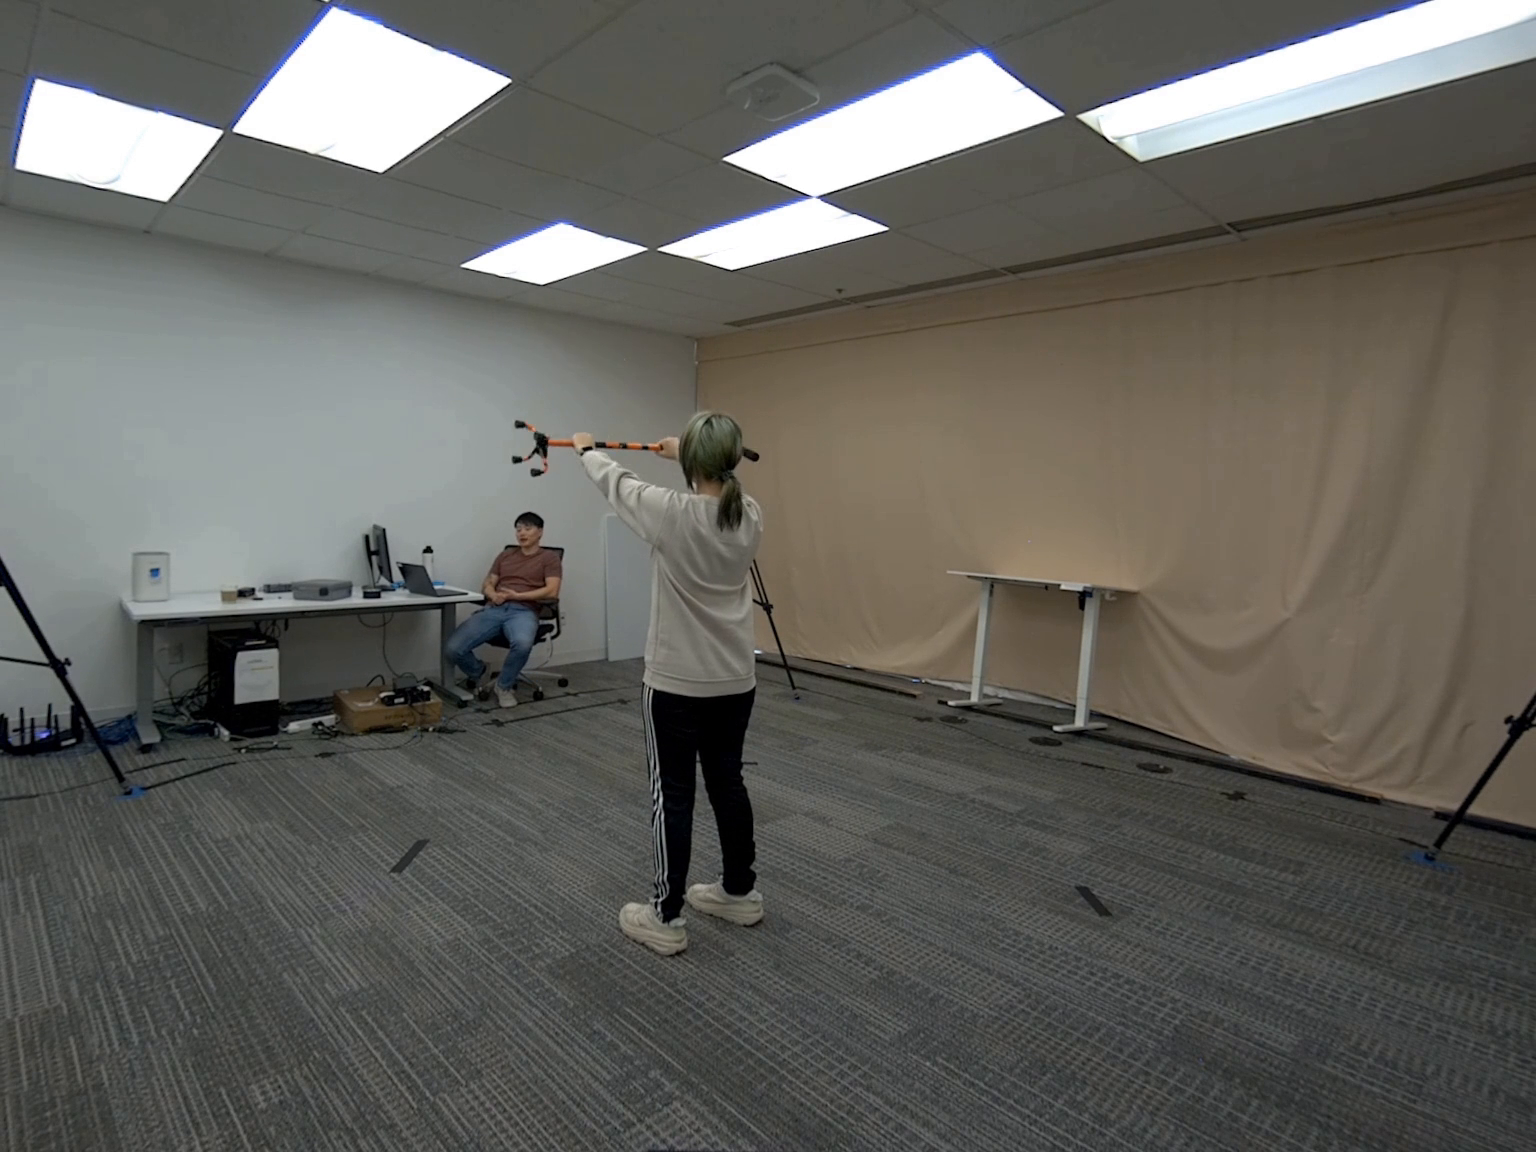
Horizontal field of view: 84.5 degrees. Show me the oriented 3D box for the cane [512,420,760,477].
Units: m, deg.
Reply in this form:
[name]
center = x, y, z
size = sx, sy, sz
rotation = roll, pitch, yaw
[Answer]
[cane]
center = -0.452, -0.451, 3.055
size = 0.889, 0.150, 0.213
rotation = -4, 23, -35
